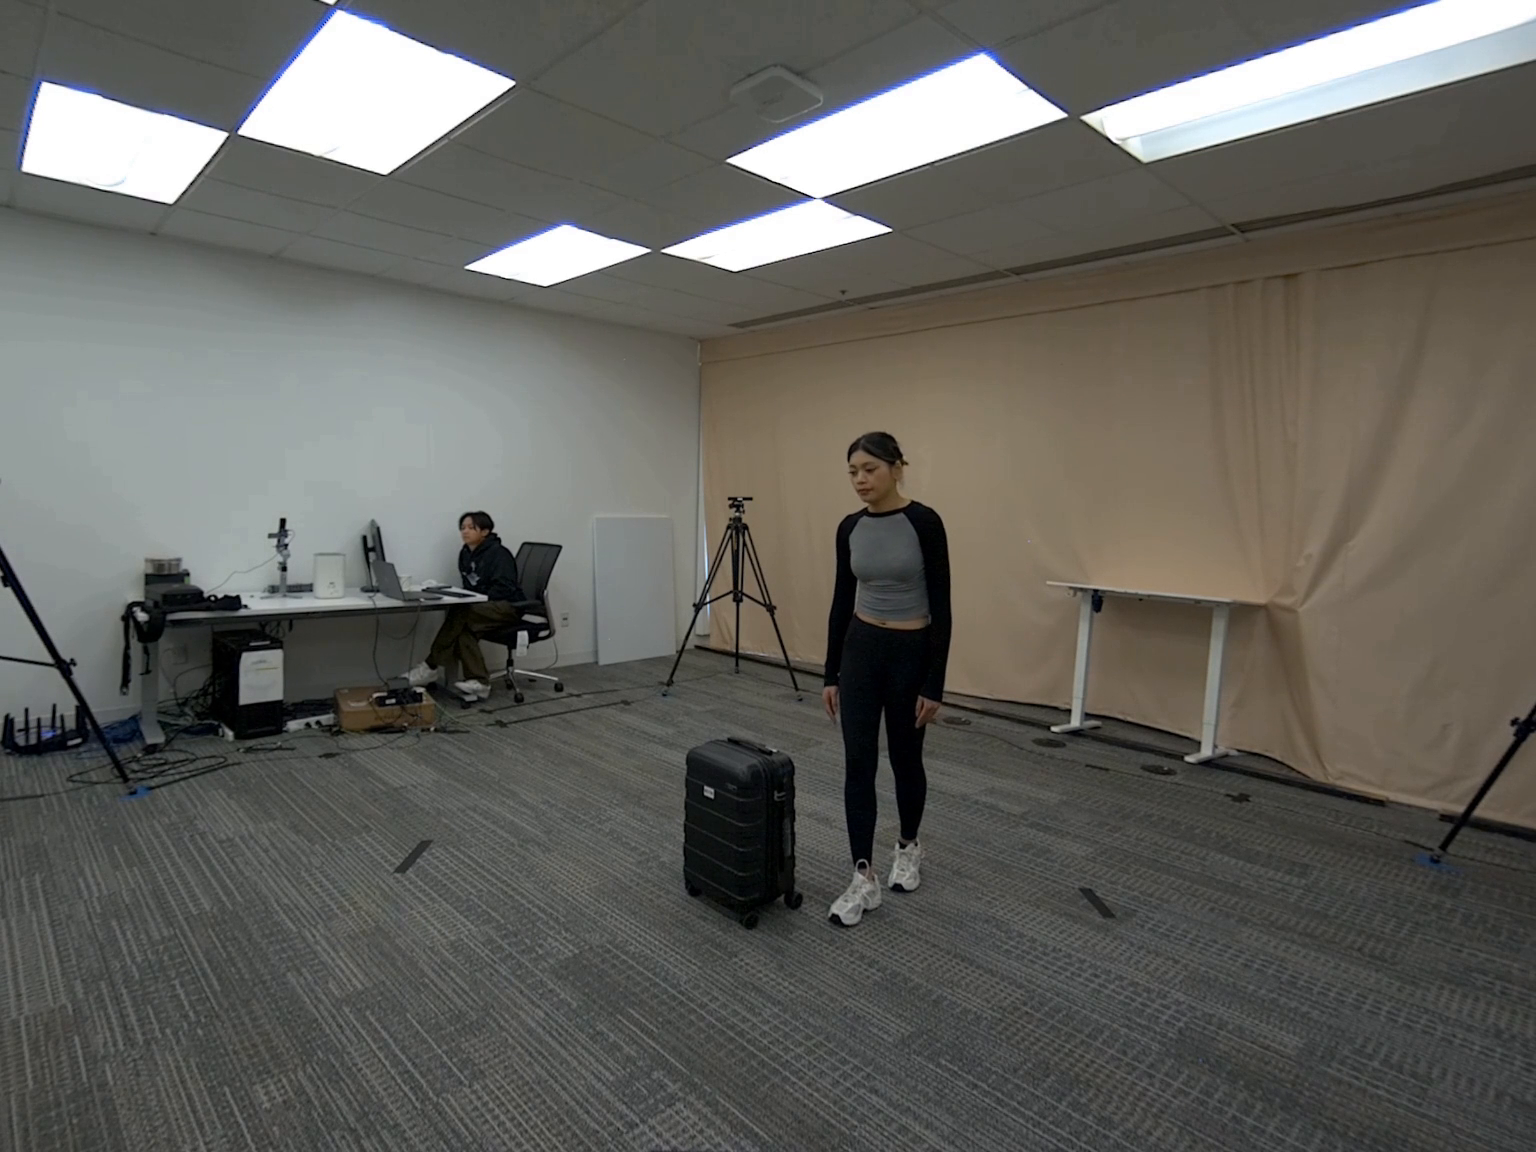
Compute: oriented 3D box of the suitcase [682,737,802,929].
[{"bbox_3d":[-0.102,0.855,2.886,0.243,0.547,0.385,-5,7,-42],"label":"suitcase"}]
